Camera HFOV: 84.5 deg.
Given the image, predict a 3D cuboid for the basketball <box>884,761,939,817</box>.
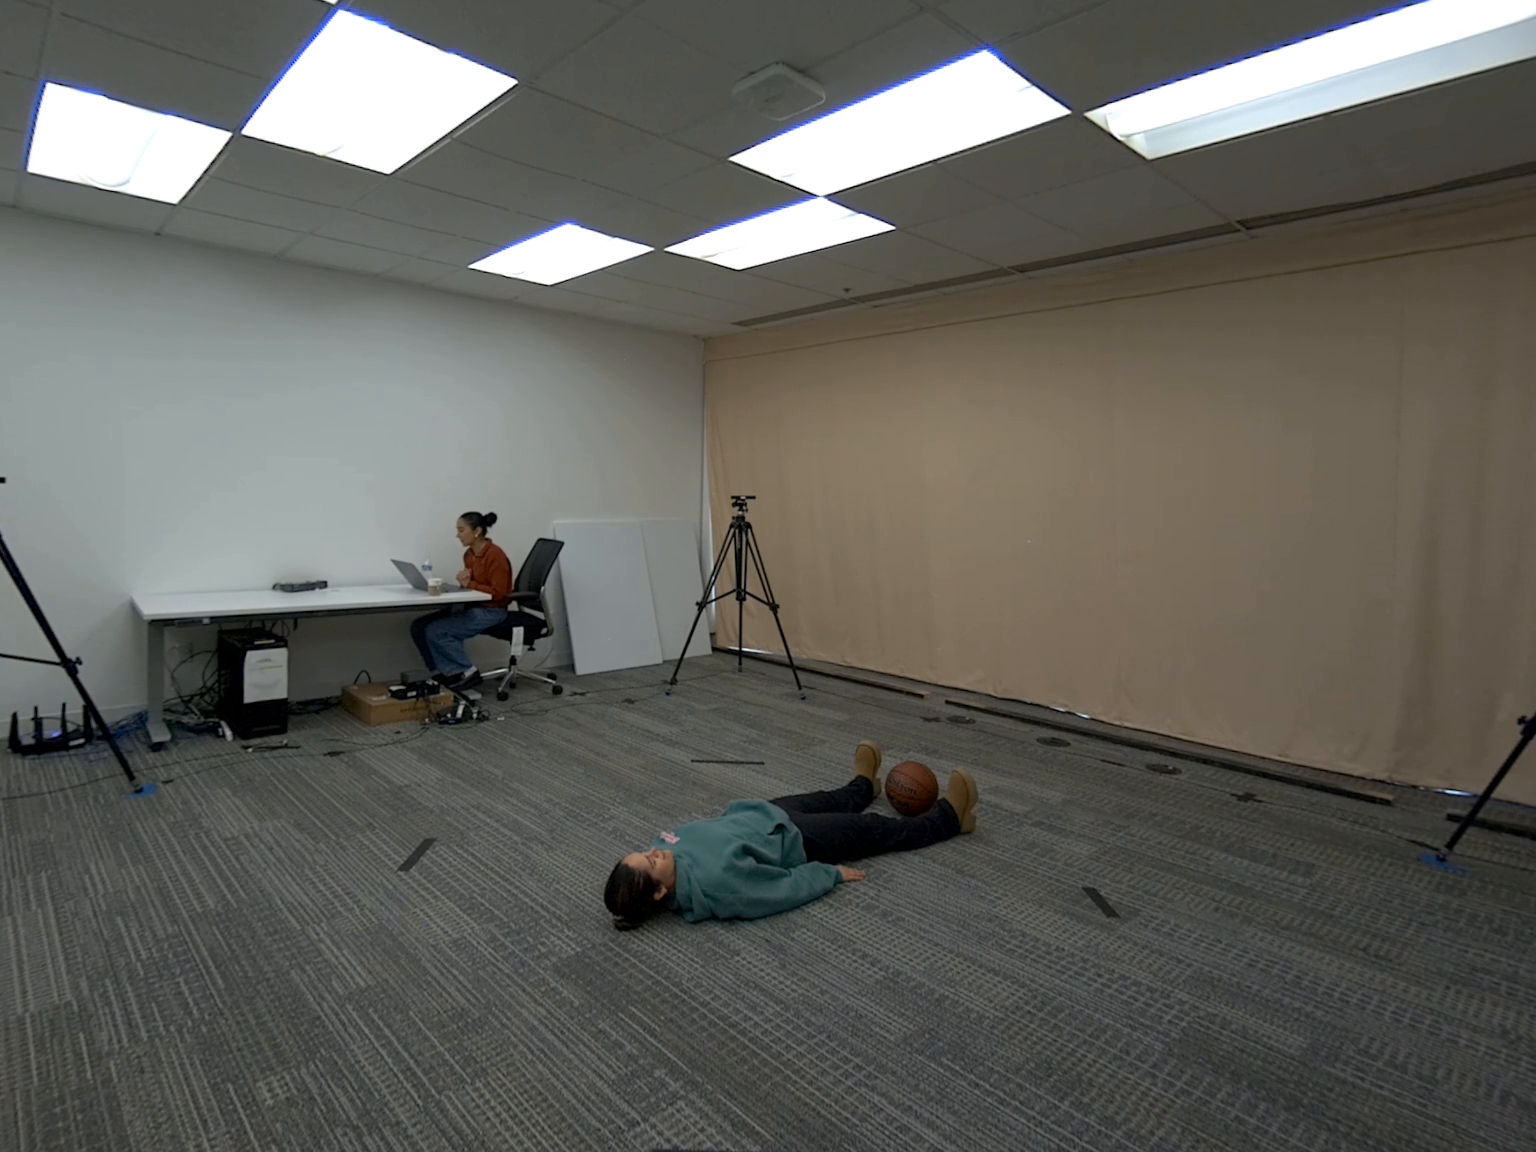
[{"bbox_3d":[0.625,0.946,3.757,0.236,0.235,0.237,1,5,-1],"label":"basketball"}]
